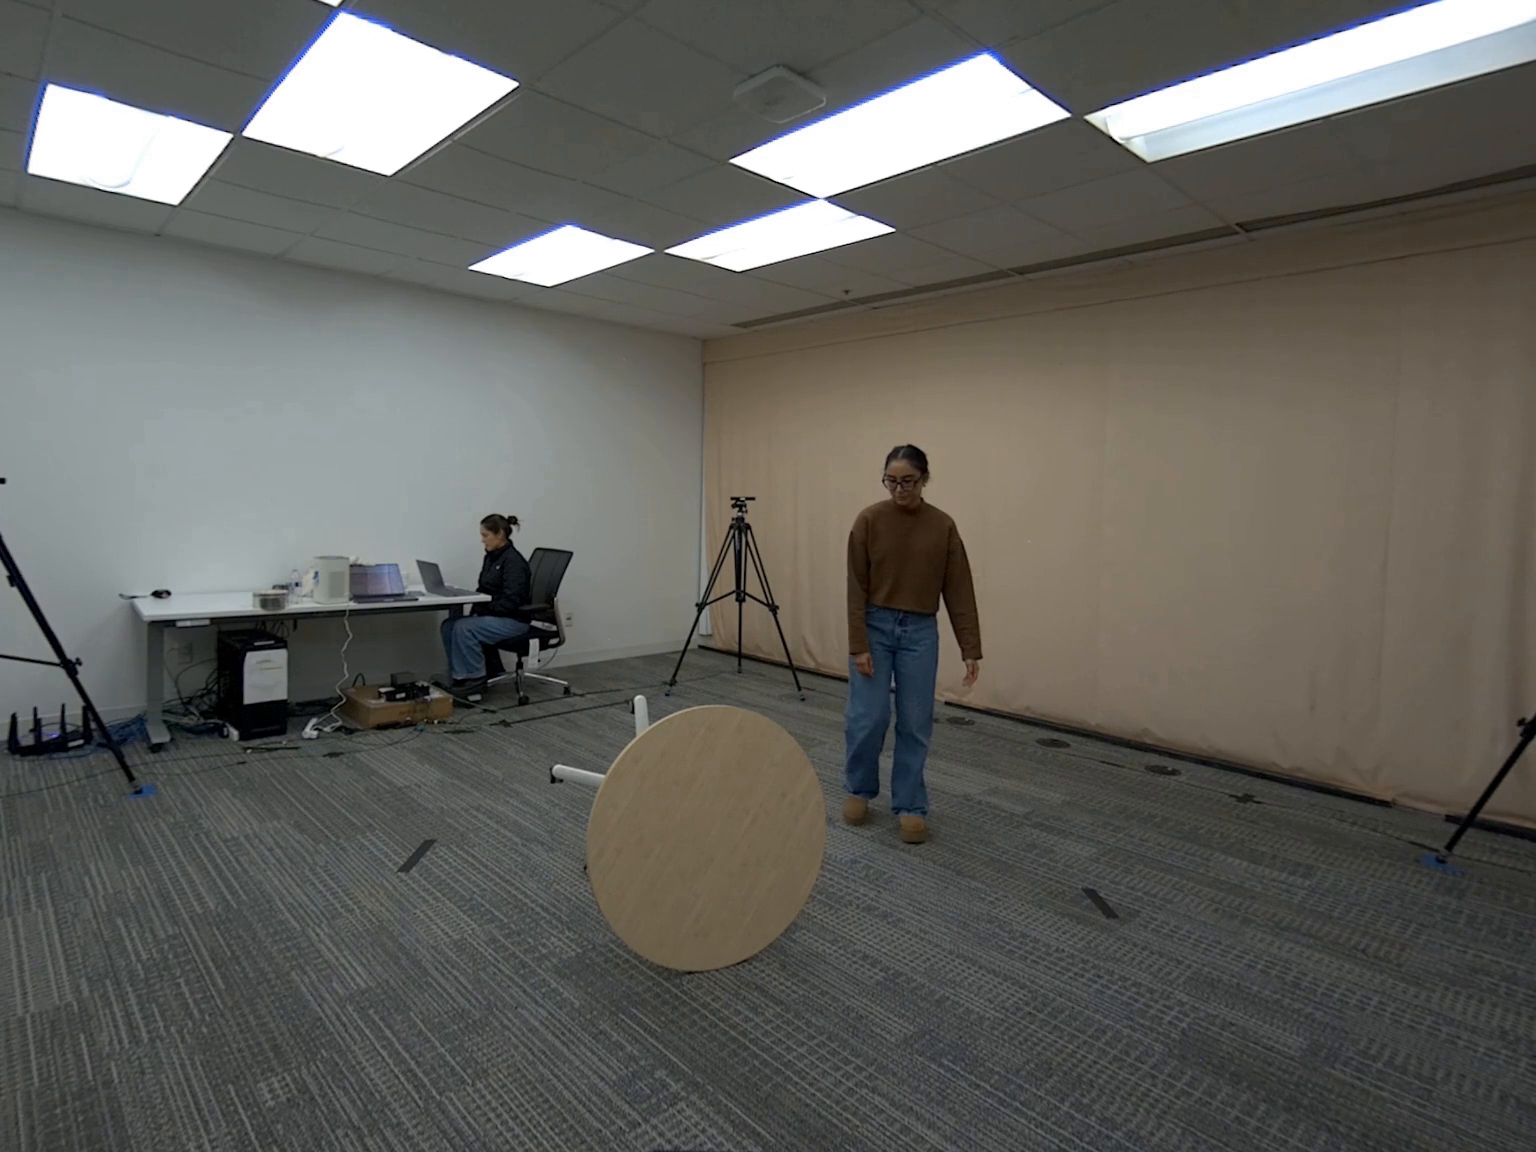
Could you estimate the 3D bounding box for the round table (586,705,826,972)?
[{"bbox_3d":[-0.341,0.789,2.871,0.750,0.766,0.806,-1,-3,-25],"label":"round table"}]
